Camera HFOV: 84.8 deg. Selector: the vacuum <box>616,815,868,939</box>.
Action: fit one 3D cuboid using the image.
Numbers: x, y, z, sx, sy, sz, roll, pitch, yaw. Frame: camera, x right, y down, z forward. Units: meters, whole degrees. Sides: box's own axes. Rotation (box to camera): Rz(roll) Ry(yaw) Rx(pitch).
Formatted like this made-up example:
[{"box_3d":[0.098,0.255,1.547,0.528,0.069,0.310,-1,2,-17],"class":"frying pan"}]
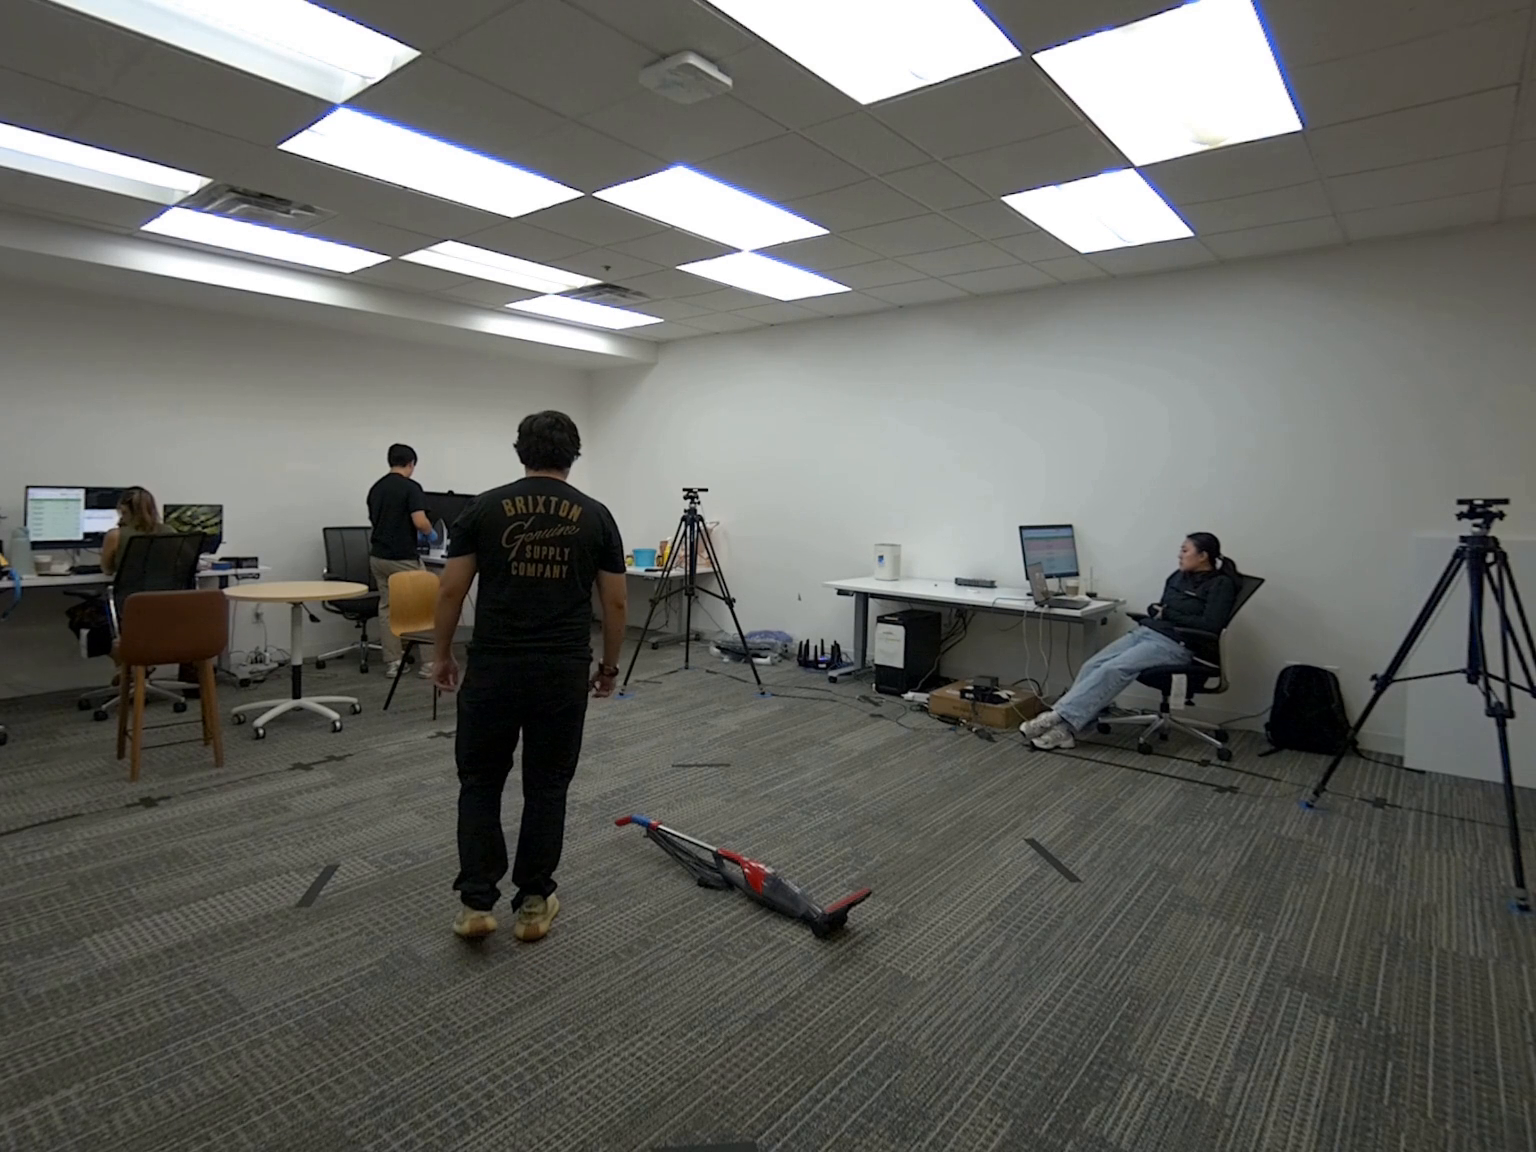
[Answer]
[{"box_3d":[-0.190,1.019,3.007,1.085,0.143,0.245,5,6,41],"class":"vacuum"}]
